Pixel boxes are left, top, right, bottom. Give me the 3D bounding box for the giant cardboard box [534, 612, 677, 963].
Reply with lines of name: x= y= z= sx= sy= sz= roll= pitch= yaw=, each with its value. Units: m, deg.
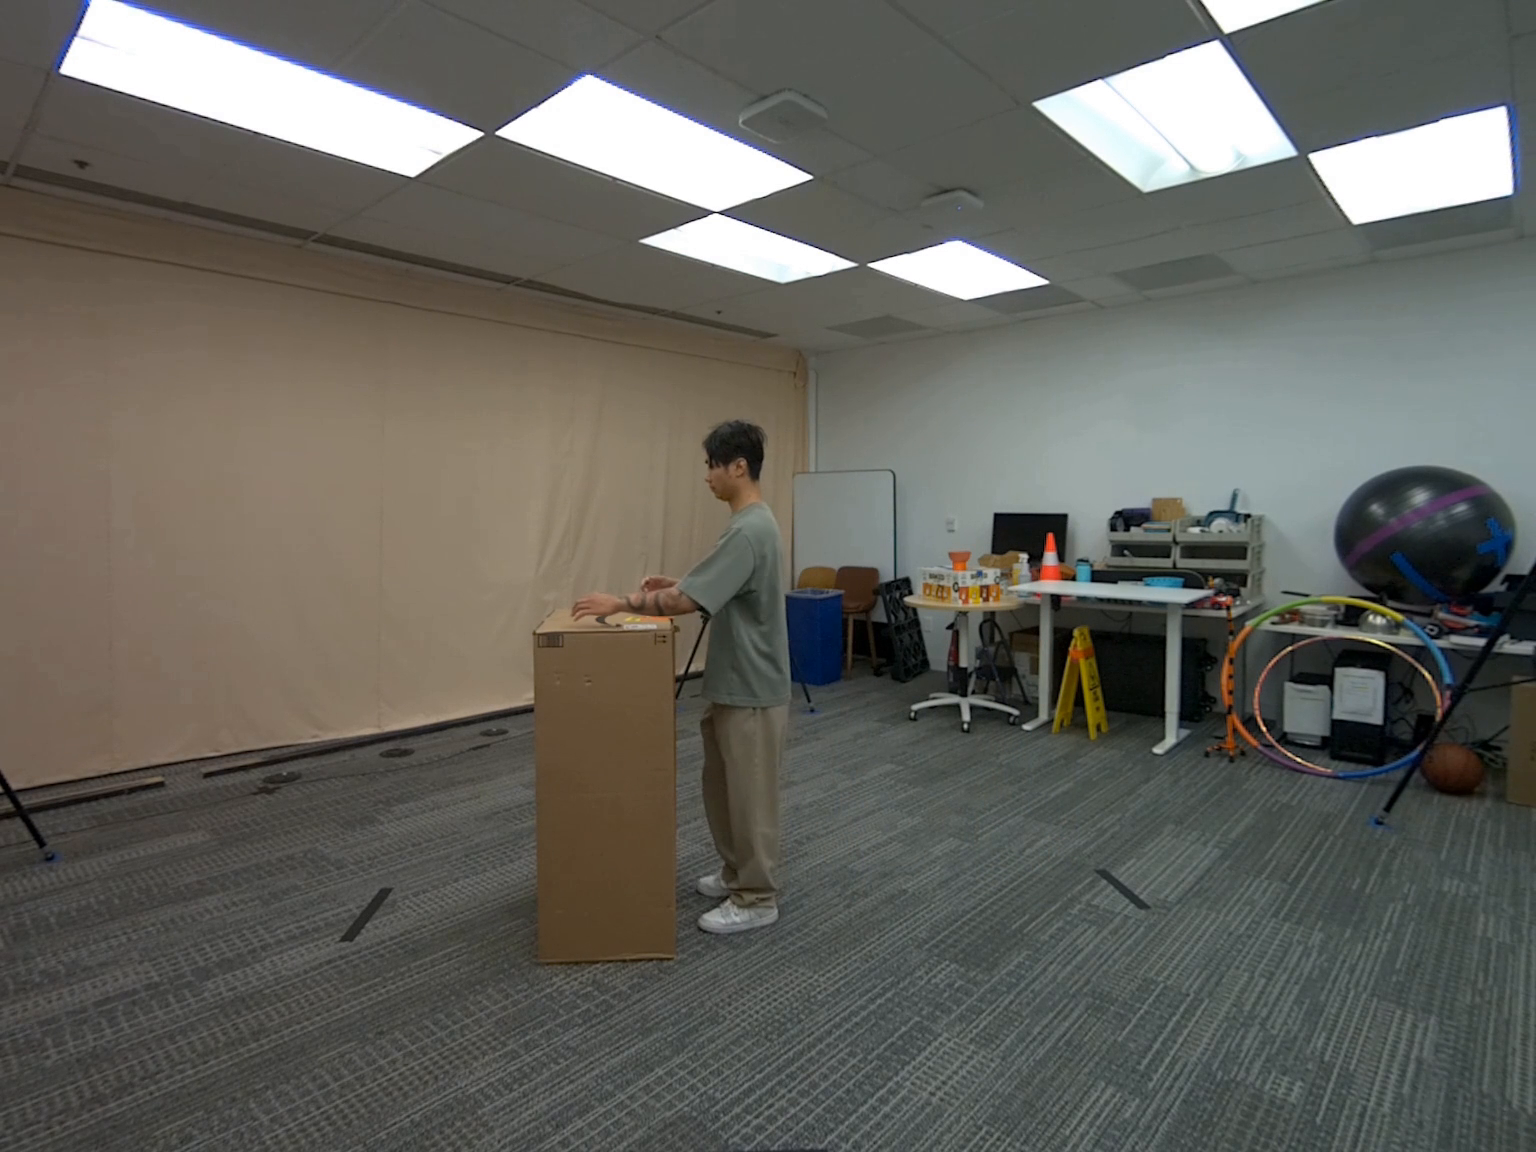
giant cardboard box: x=-0.532 y=0.652 z=2.832 sx=0.423 sy=1.024 sz=0.583 roll=-1 pitch=3 yaw=-8
